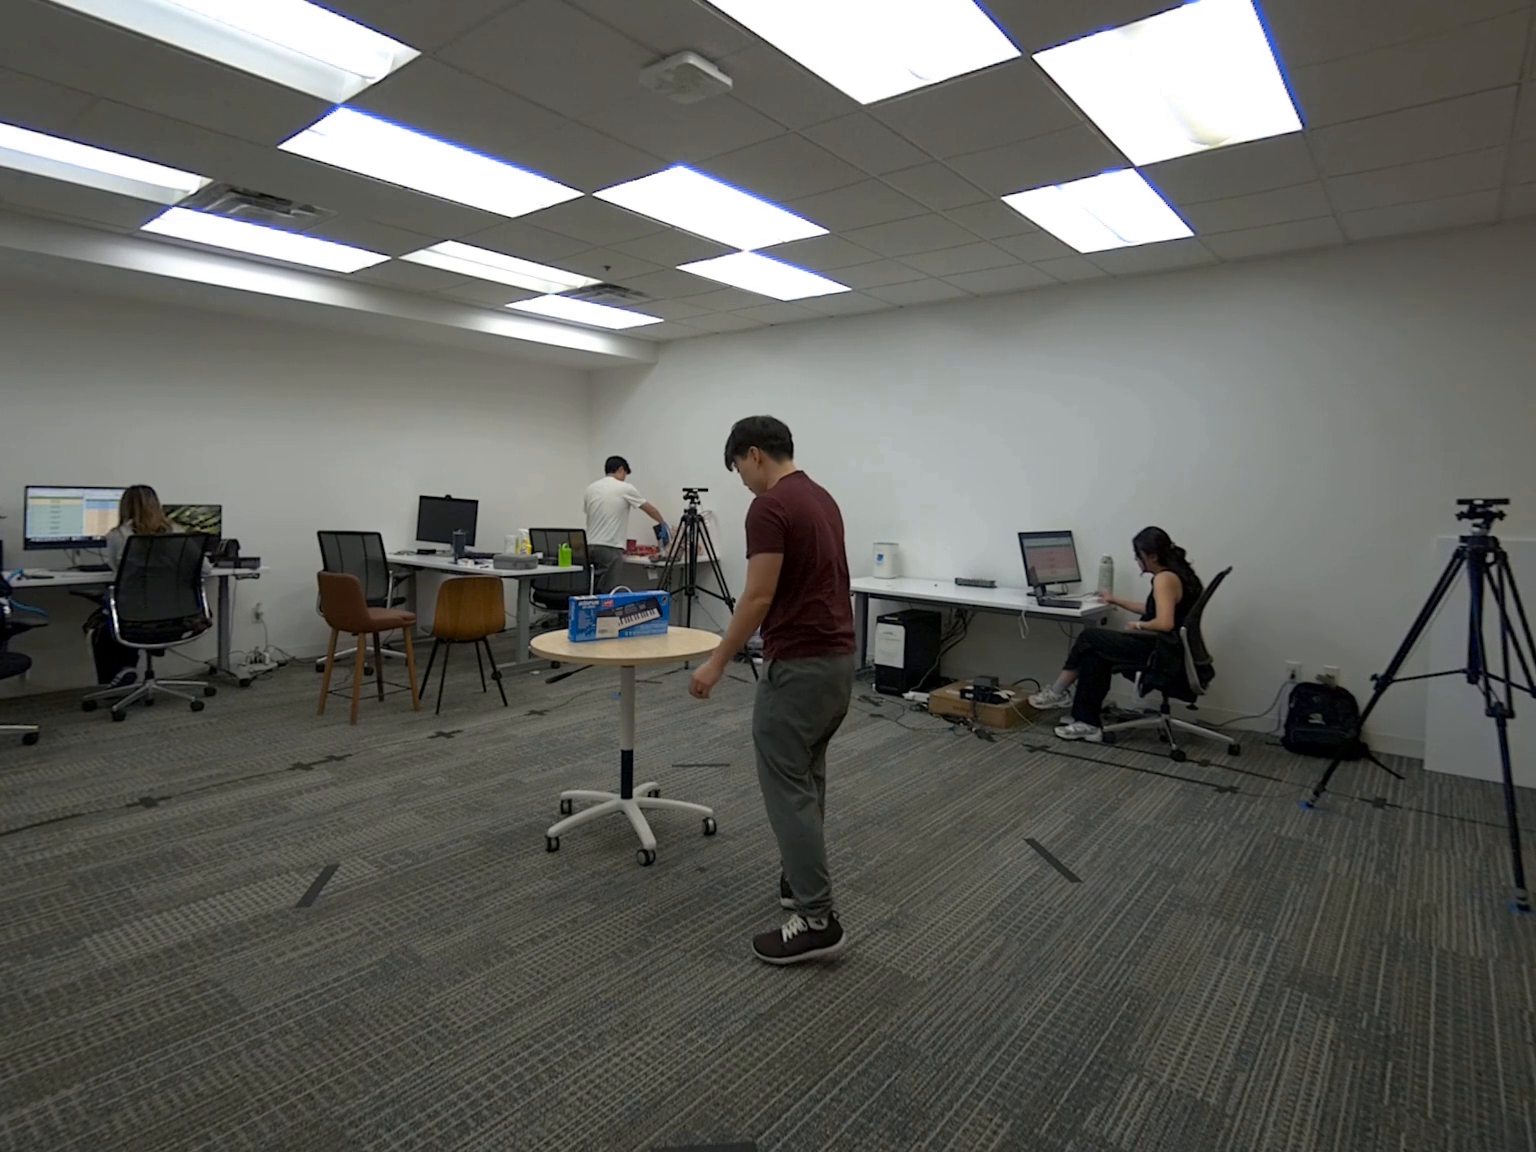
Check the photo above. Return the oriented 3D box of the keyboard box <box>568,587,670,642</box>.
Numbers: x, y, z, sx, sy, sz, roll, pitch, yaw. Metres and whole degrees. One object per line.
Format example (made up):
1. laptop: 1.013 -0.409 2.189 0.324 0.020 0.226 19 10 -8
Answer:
1. keyboard box: -0.615 0.164 3.475 0.424 0.175 0.061 -3 9 -37
